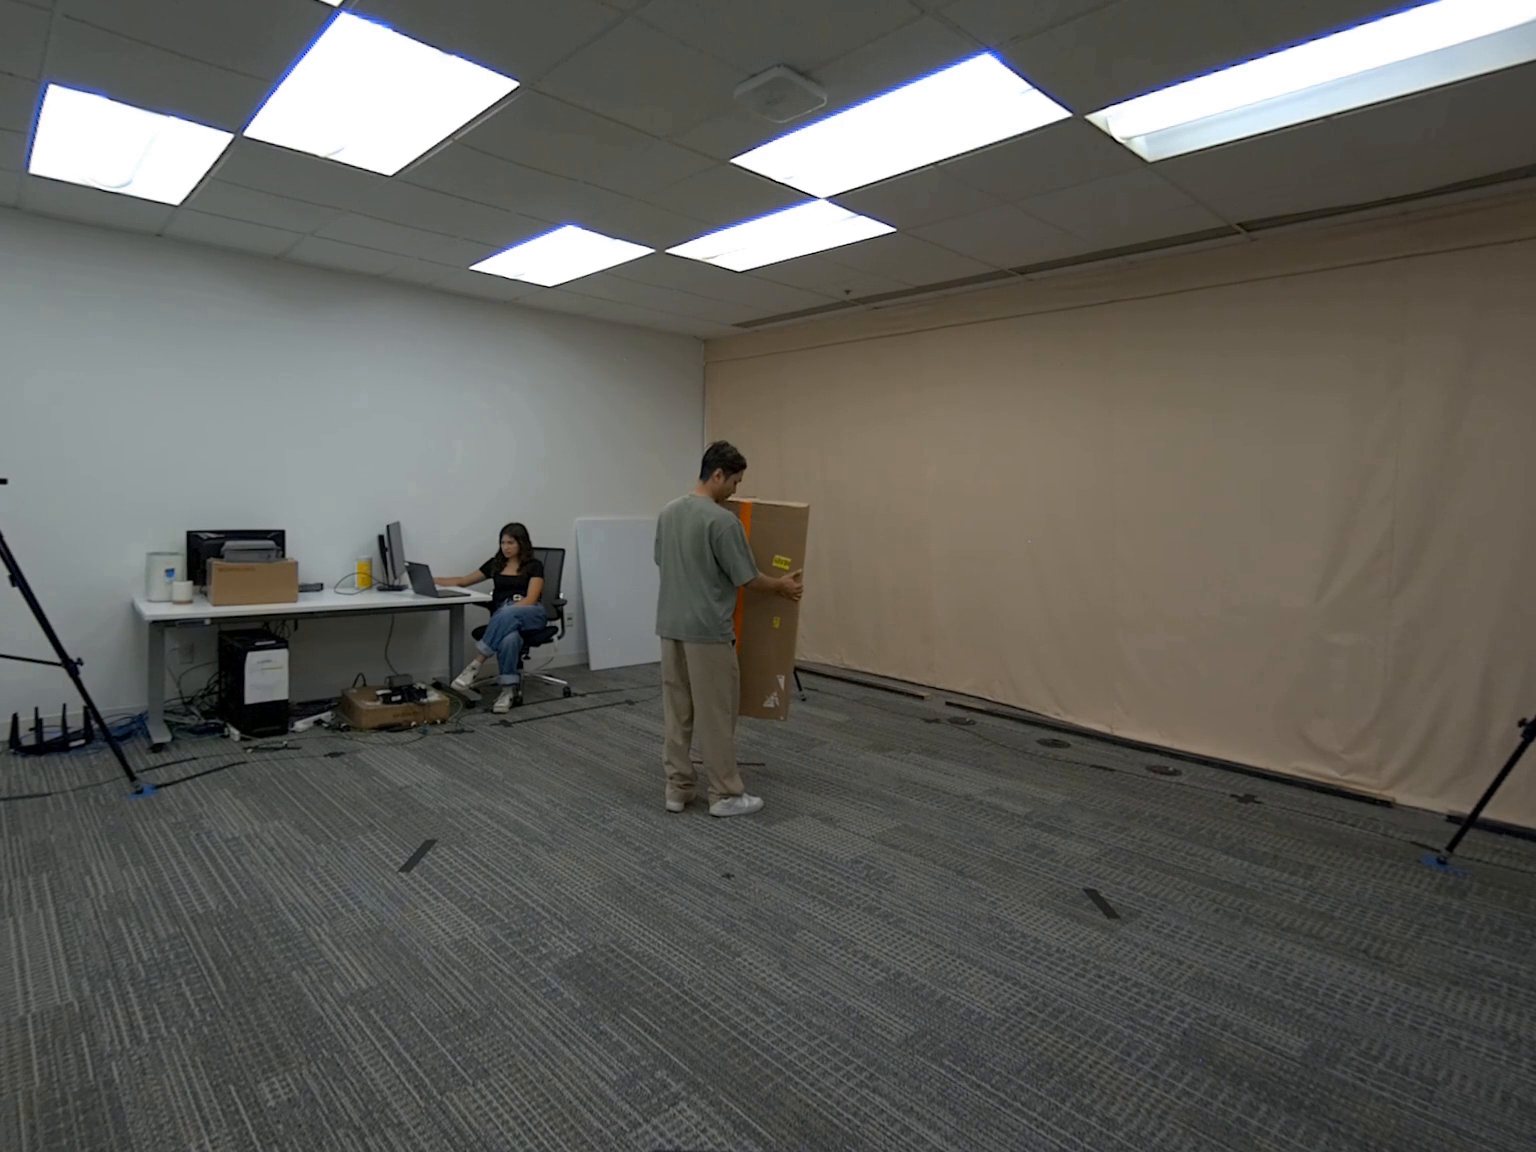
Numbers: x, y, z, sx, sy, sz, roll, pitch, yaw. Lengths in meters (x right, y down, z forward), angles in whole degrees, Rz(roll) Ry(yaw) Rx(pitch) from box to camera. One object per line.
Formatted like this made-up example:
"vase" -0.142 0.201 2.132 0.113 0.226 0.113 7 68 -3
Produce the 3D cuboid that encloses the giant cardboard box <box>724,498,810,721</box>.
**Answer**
"giant cardboard box" -0.153 0.135 4.168 0.579 1.023 0.426 6 4 2
